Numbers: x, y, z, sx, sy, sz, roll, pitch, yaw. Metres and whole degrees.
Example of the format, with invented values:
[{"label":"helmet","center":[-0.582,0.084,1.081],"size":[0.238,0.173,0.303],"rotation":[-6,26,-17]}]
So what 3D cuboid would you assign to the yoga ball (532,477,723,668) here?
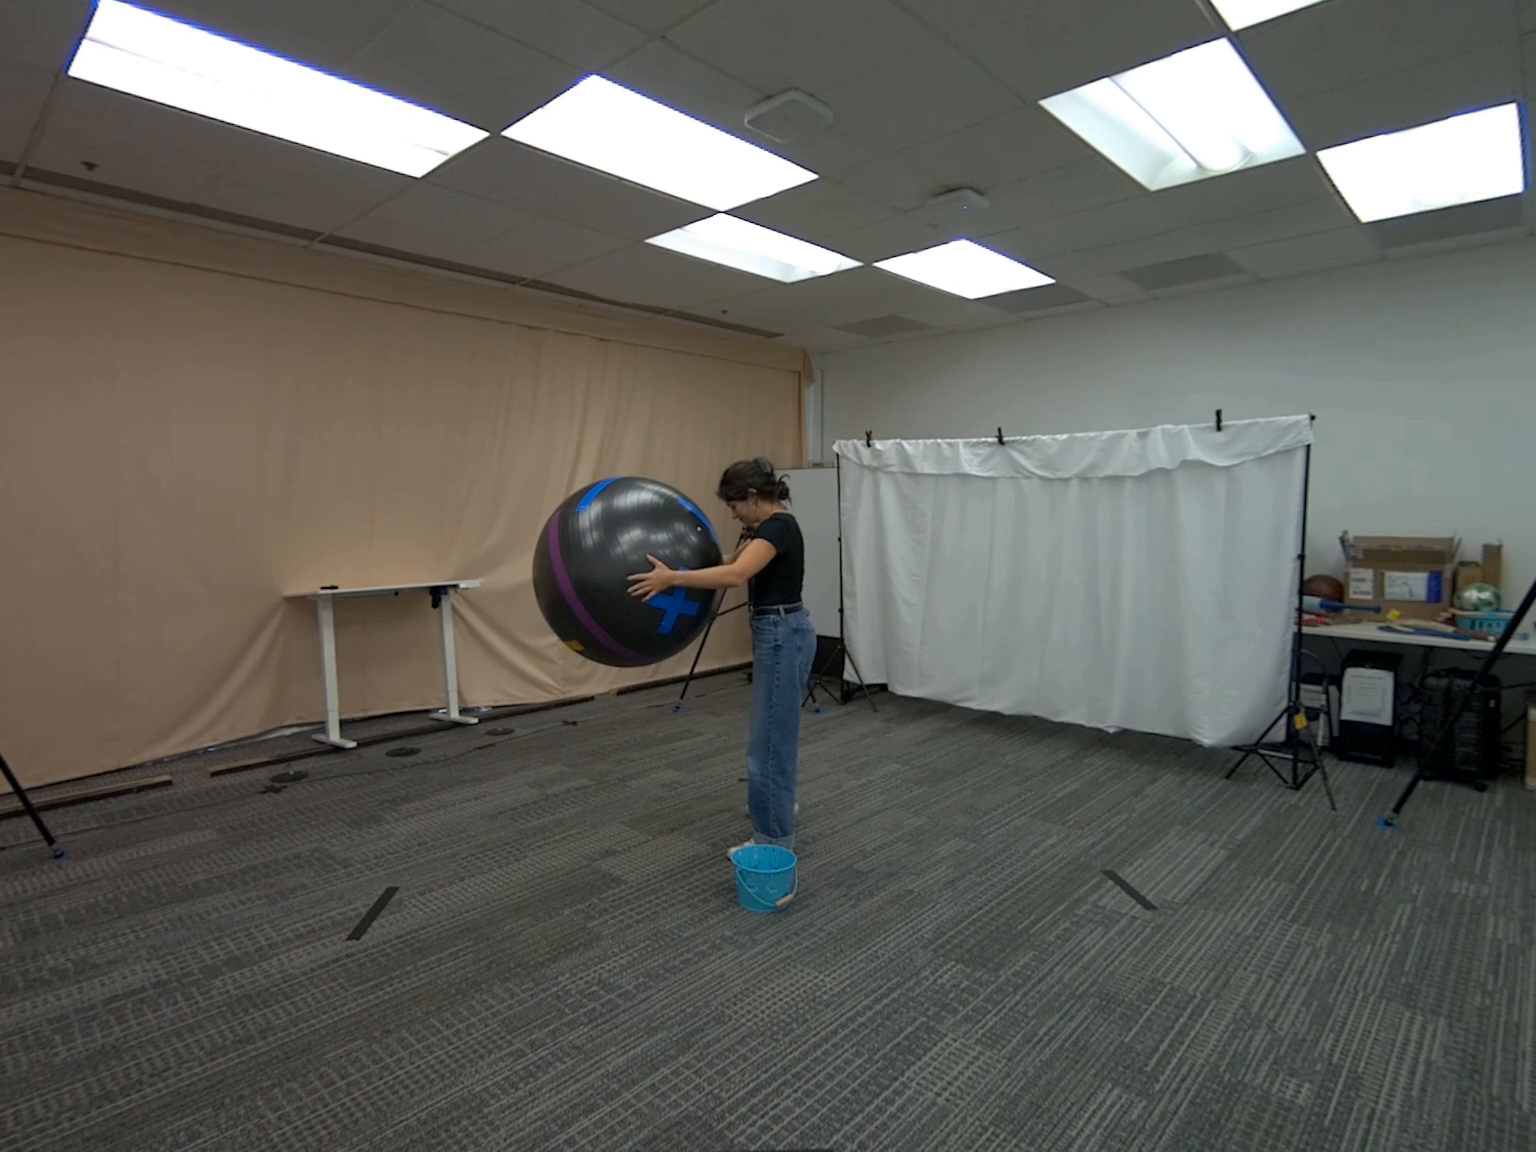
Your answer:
[{"label":"yoga ball","center":[-0.558,-0.013,3.372],"size":[0.757,0.756,0.760],"rotation":[0,4,-2]}]
